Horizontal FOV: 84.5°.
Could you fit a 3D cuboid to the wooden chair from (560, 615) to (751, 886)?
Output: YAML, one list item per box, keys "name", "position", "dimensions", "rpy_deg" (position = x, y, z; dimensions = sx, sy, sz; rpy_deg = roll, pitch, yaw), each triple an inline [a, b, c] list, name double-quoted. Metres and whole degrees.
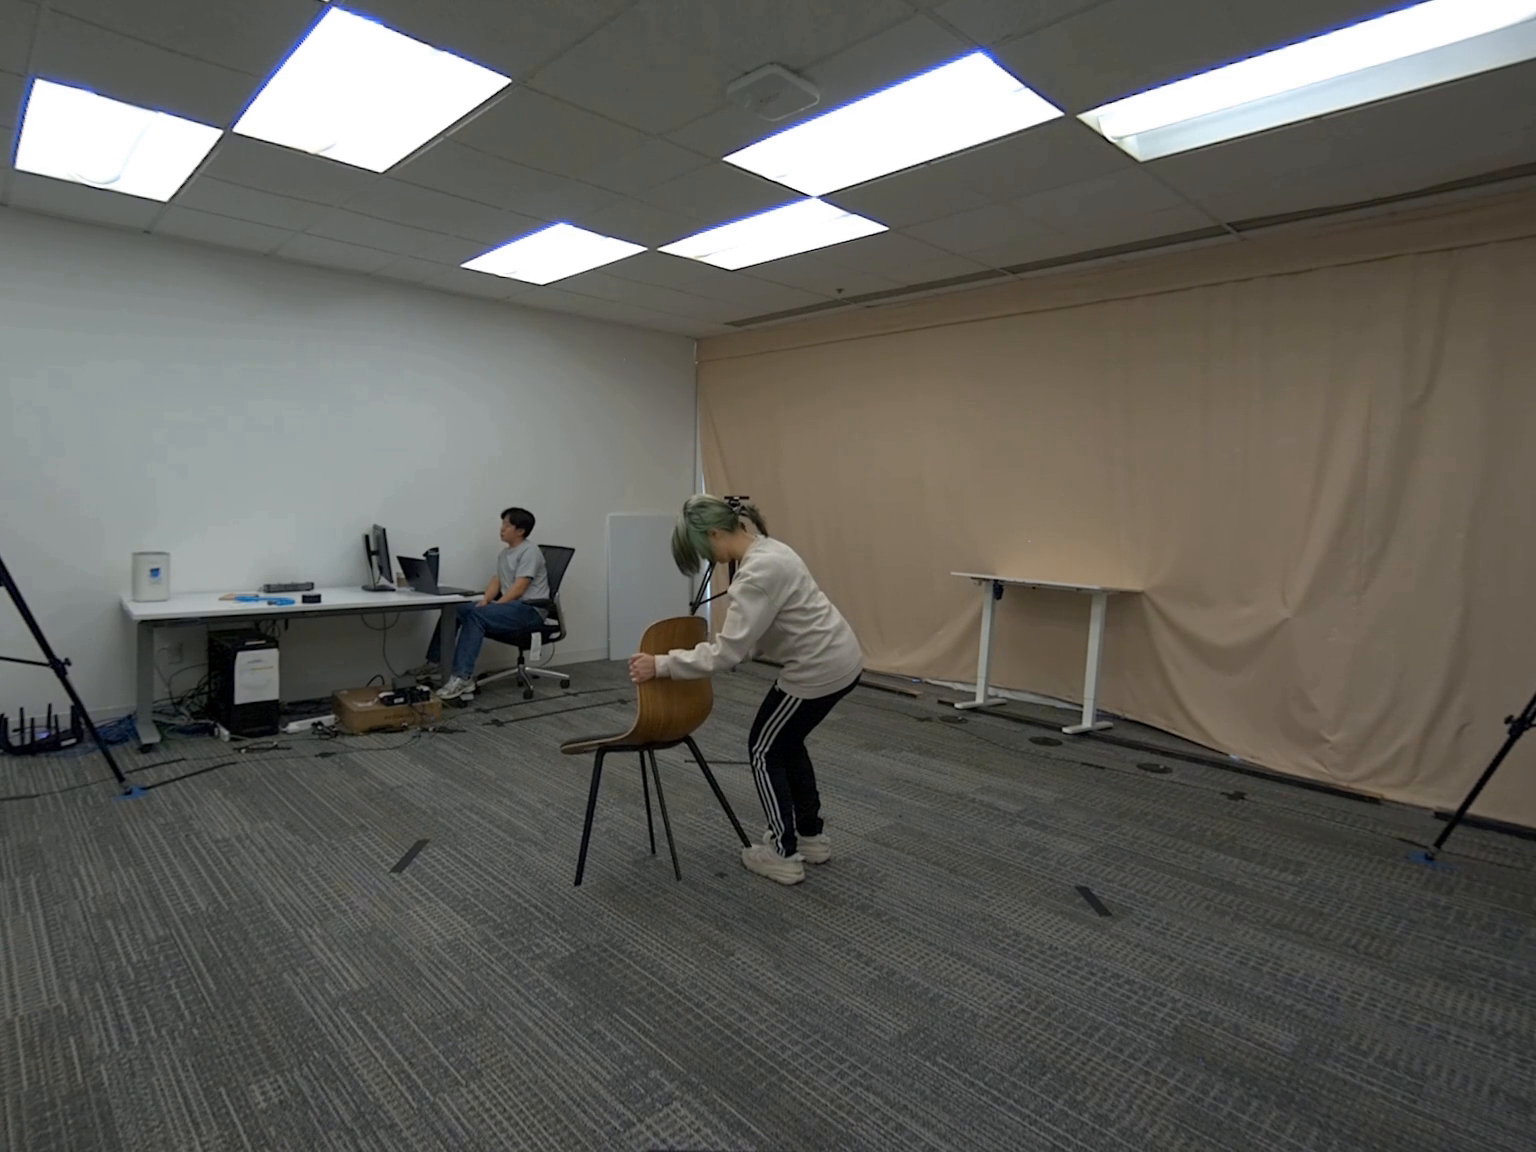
- name: "wooden chair"
  position: [-0.453, 0.617, 3.040]
  dimensions: [0.532, 0.883, 0.467]
  rpy_deg: [-11, -8, 30]
